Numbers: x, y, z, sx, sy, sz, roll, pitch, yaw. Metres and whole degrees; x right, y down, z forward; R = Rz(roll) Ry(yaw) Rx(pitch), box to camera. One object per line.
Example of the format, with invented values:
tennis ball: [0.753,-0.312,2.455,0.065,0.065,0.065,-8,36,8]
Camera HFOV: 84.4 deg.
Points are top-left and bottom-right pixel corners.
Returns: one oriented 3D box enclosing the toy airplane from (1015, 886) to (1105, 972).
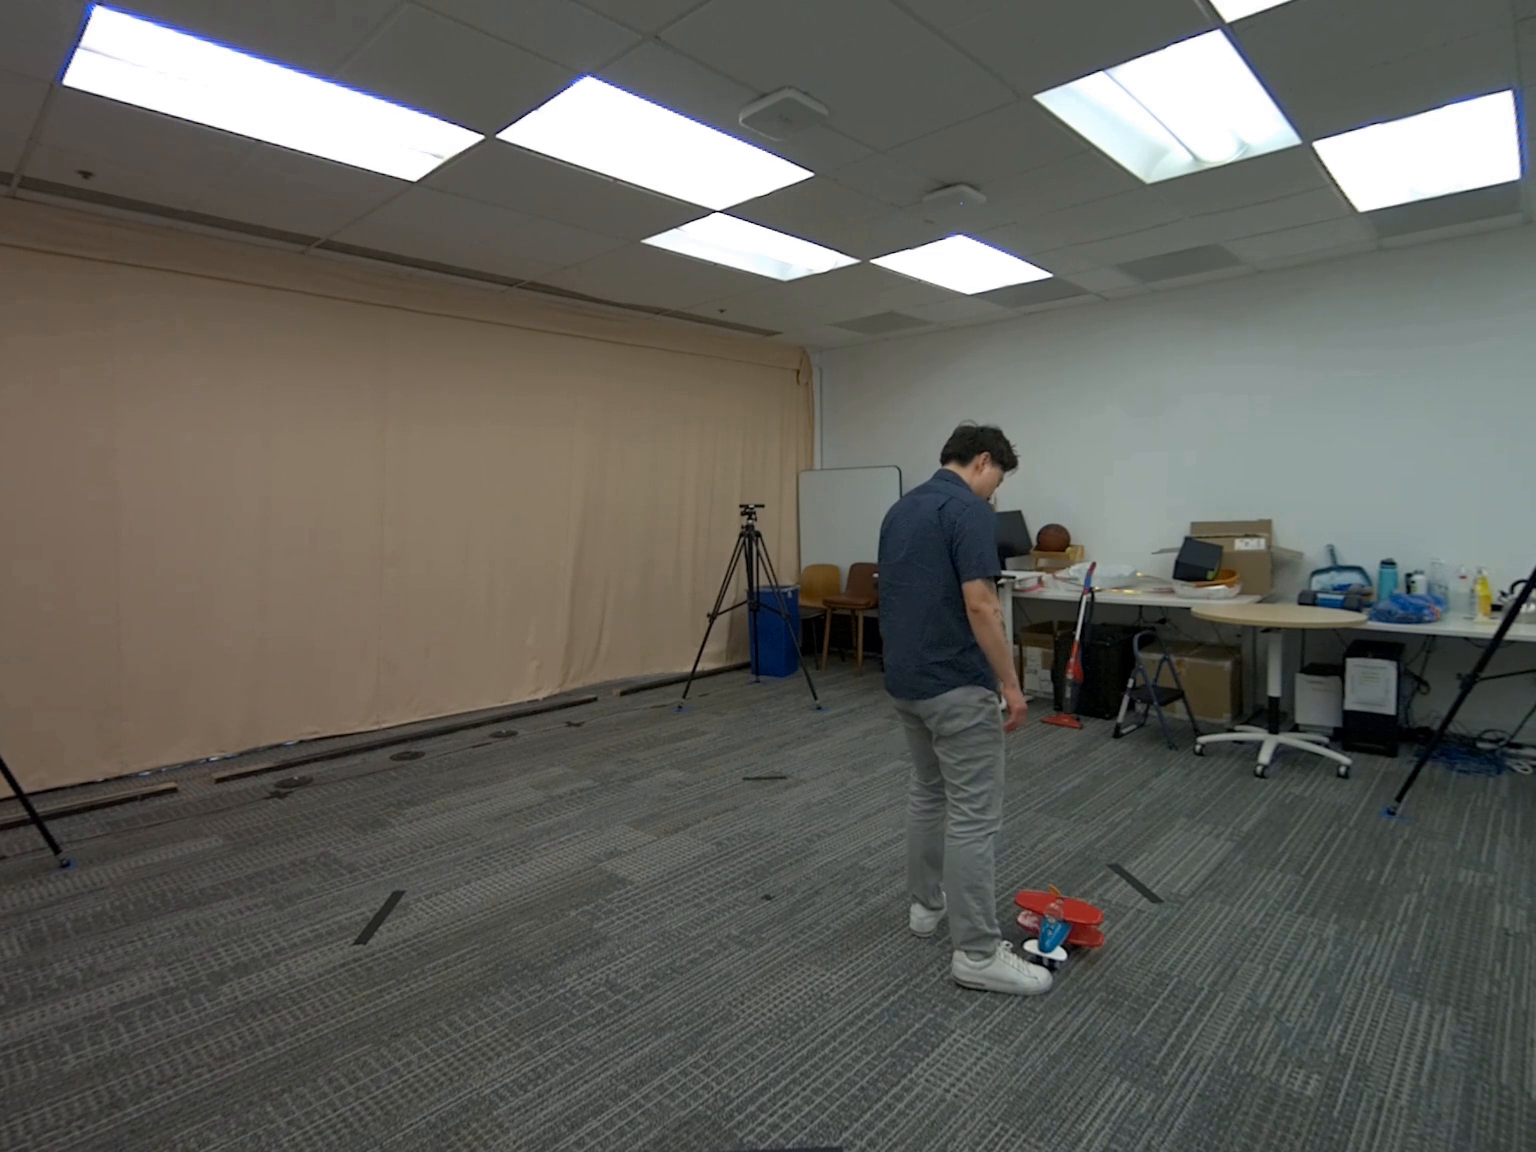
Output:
toy airplane: [0.907,1.086,2.569,0.253,0.156,0.257,0,4,7]
